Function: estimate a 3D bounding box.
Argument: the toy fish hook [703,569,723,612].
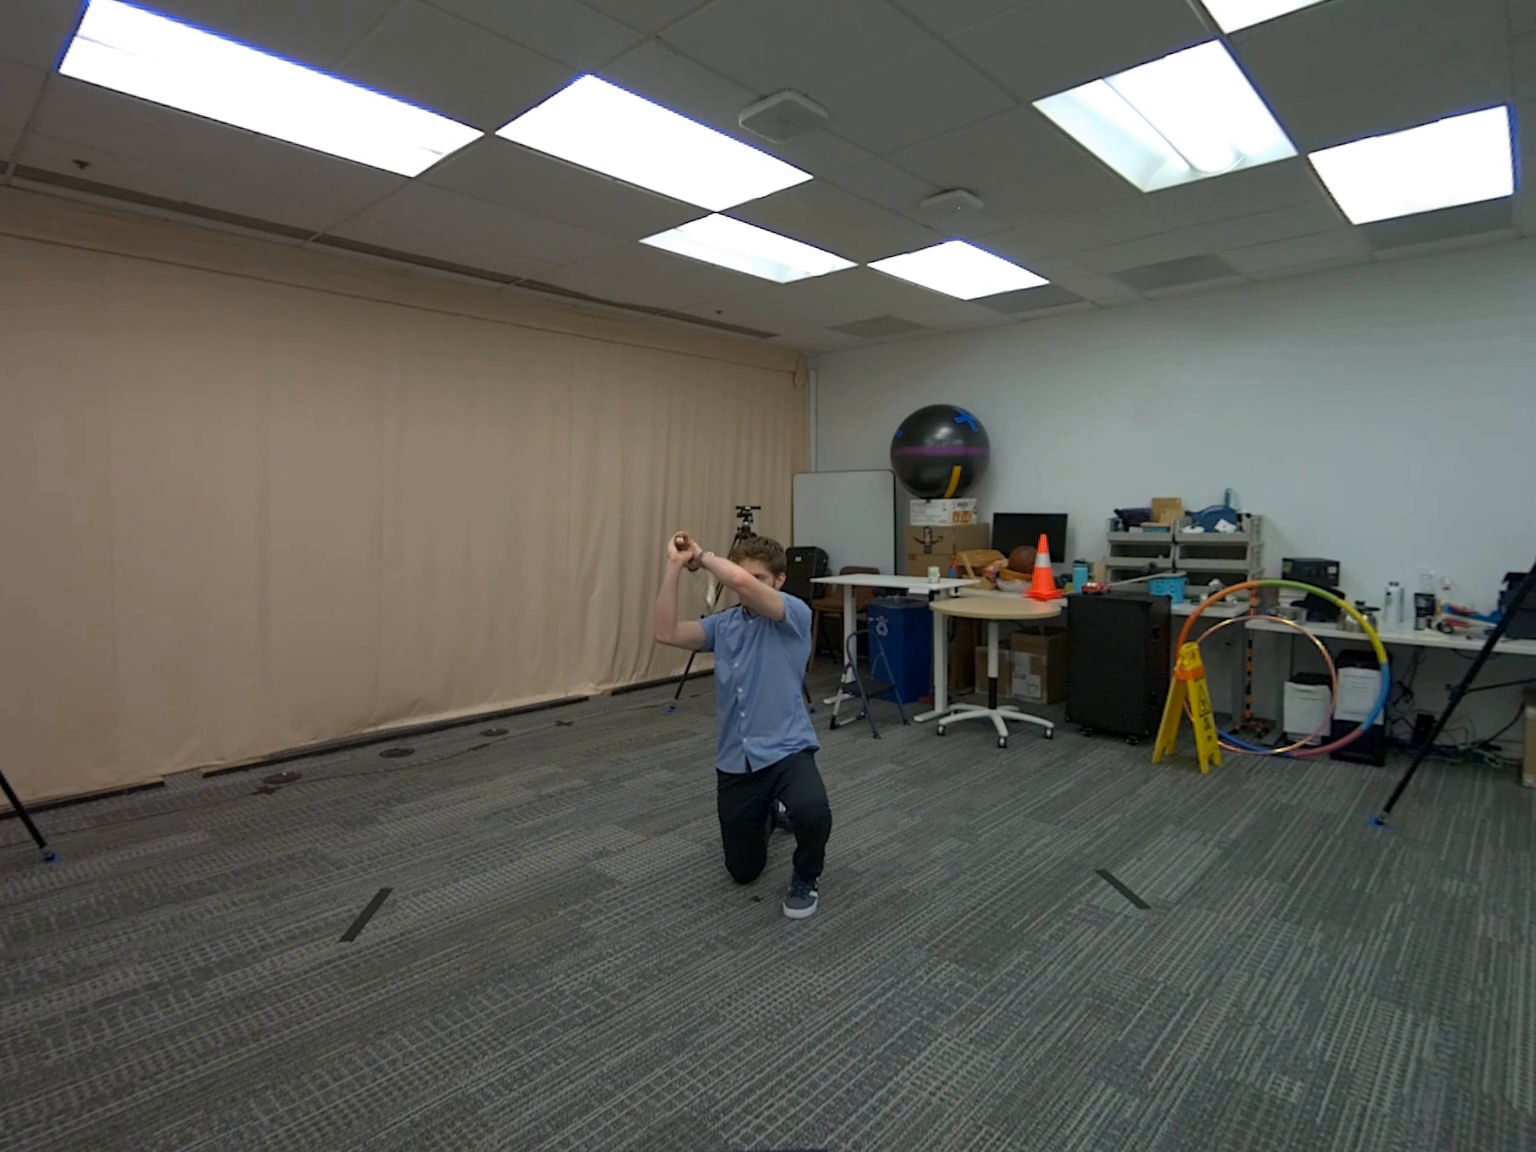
[{"bbox_3d":[-0.287,-0.061,3.256,0.049,0.228,0.492,-7,-37,11],"label":"toy fish hook"}]
